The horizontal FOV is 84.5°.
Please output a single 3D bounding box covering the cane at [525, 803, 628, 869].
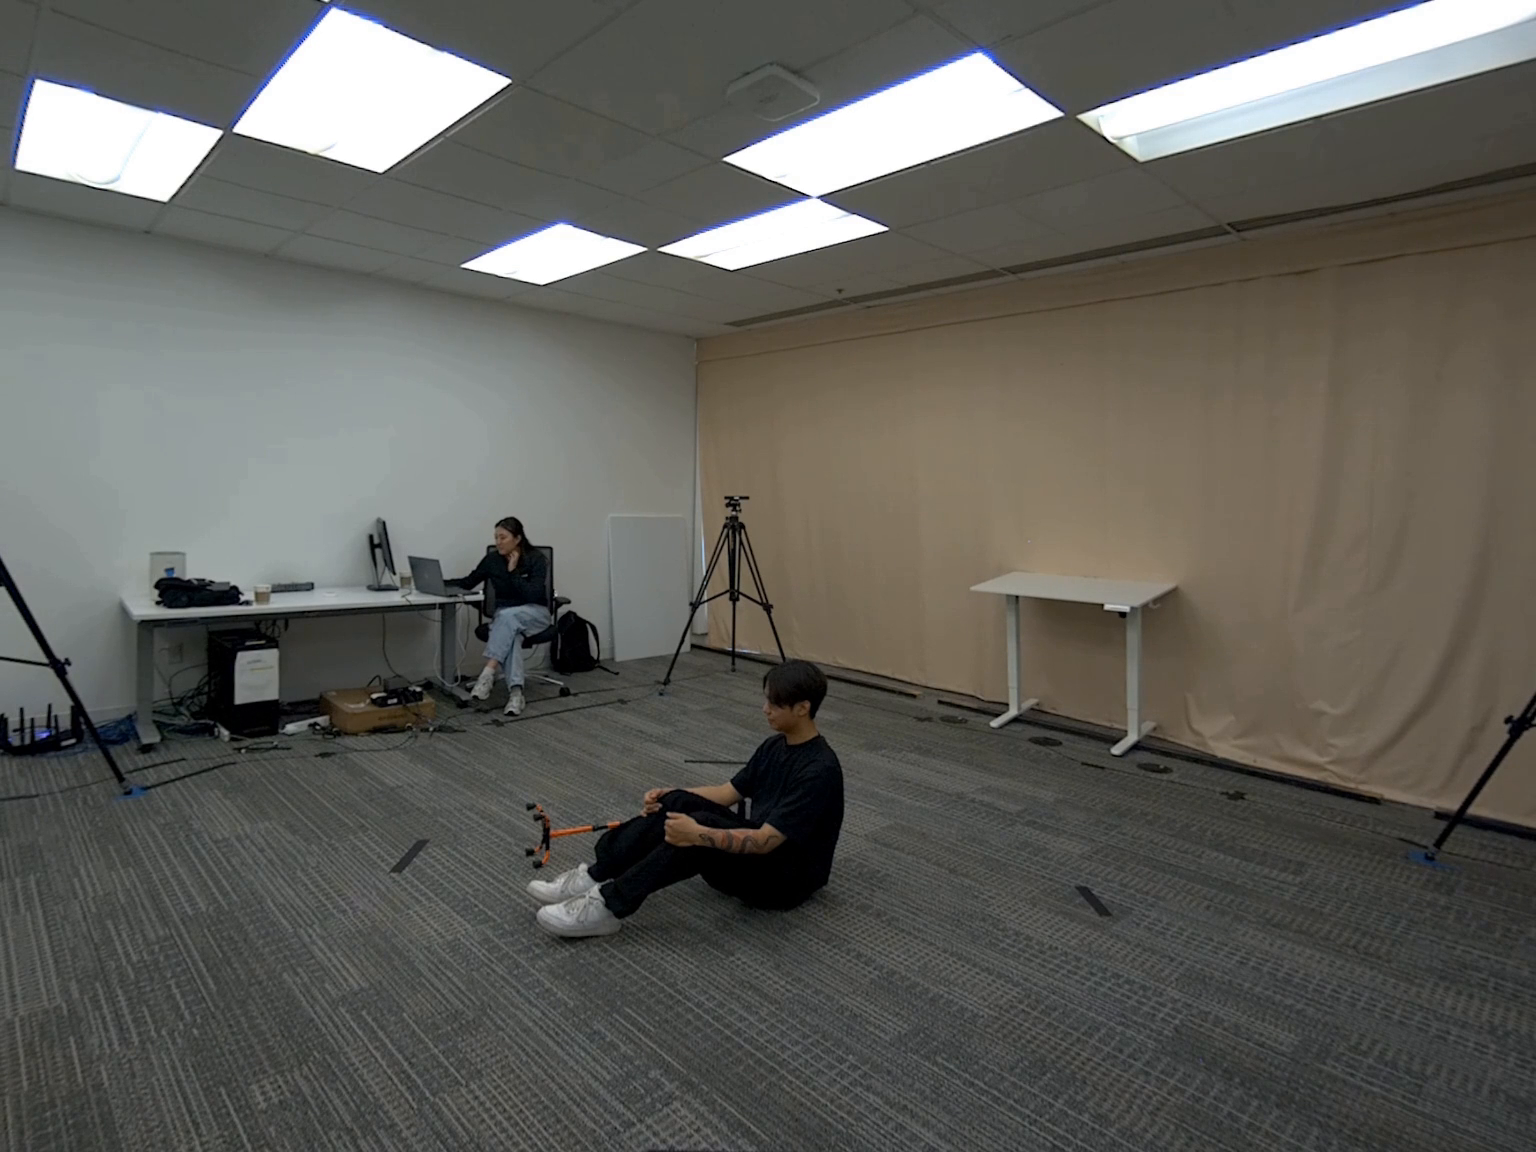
[{"bbox_3d":[-0.503,0.963,3.376,0.891,0.206,0.155,-1,3,-26],"label":"cane"}]
